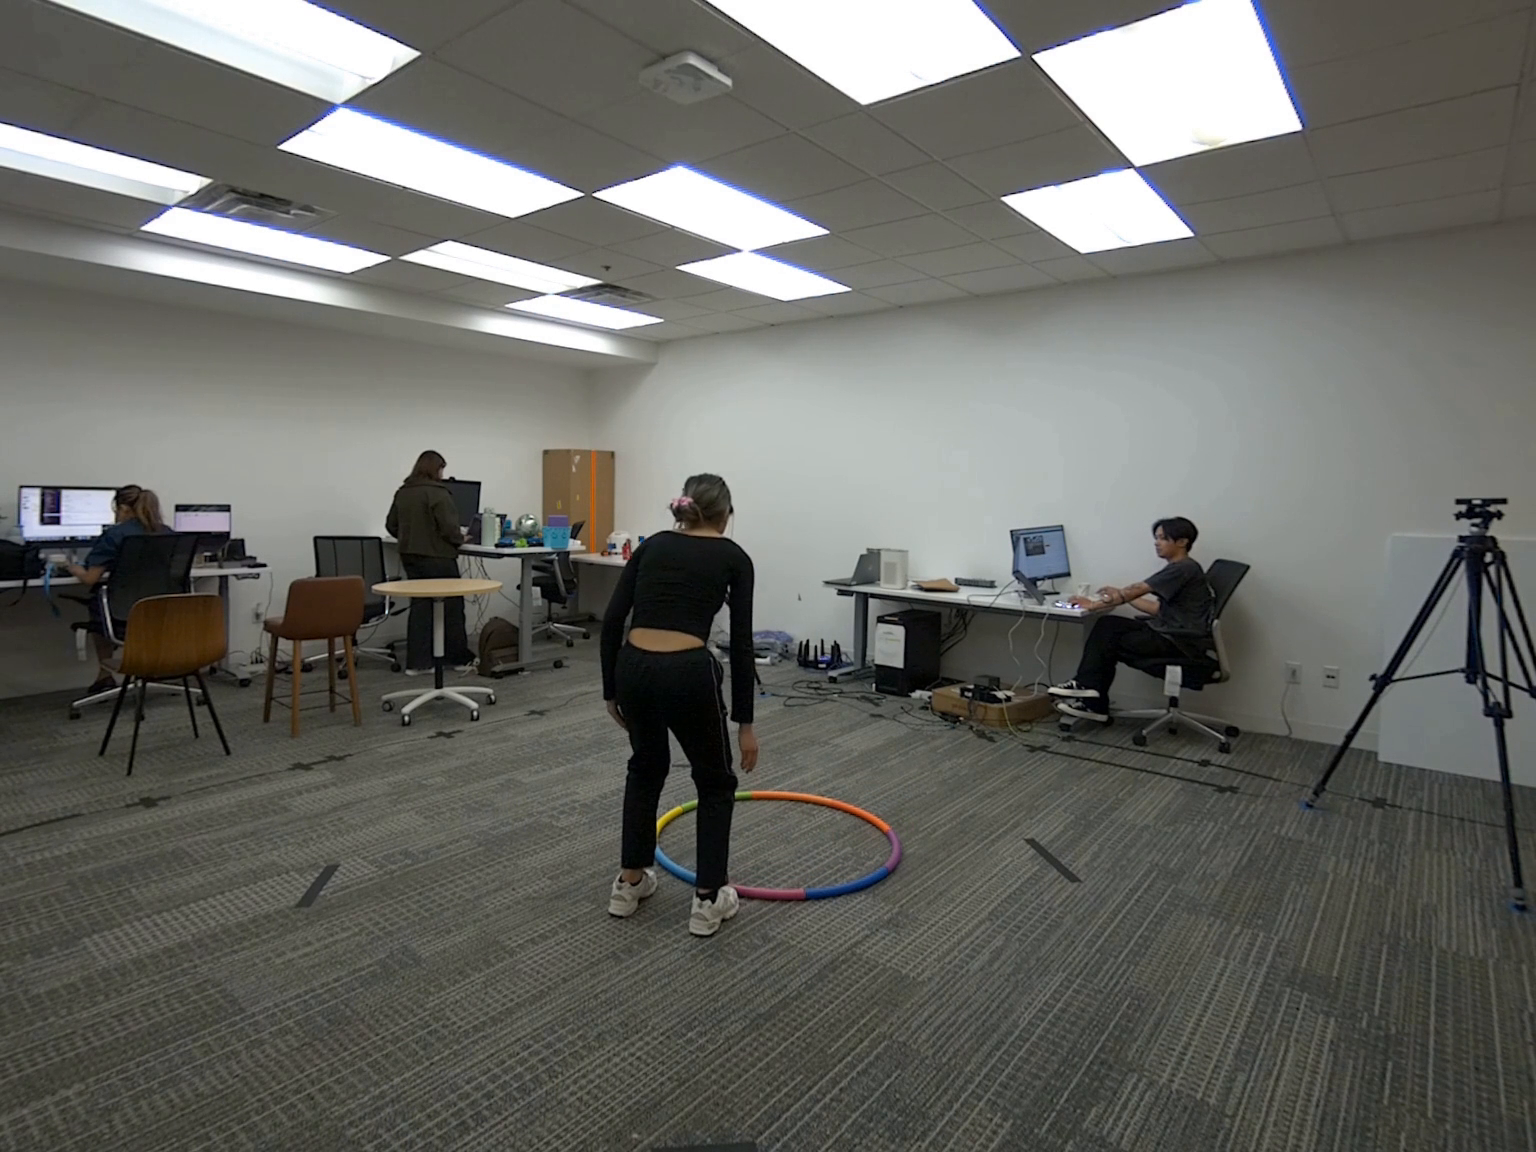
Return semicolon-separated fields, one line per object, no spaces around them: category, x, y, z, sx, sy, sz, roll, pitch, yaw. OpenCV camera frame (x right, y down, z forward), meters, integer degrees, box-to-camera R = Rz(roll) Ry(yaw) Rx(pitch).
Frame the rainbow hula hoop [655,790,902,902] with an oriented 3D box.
rainbow hula hoop;0.017;1.021;3.362;0.978;0.035;0.984;1;6;-2
